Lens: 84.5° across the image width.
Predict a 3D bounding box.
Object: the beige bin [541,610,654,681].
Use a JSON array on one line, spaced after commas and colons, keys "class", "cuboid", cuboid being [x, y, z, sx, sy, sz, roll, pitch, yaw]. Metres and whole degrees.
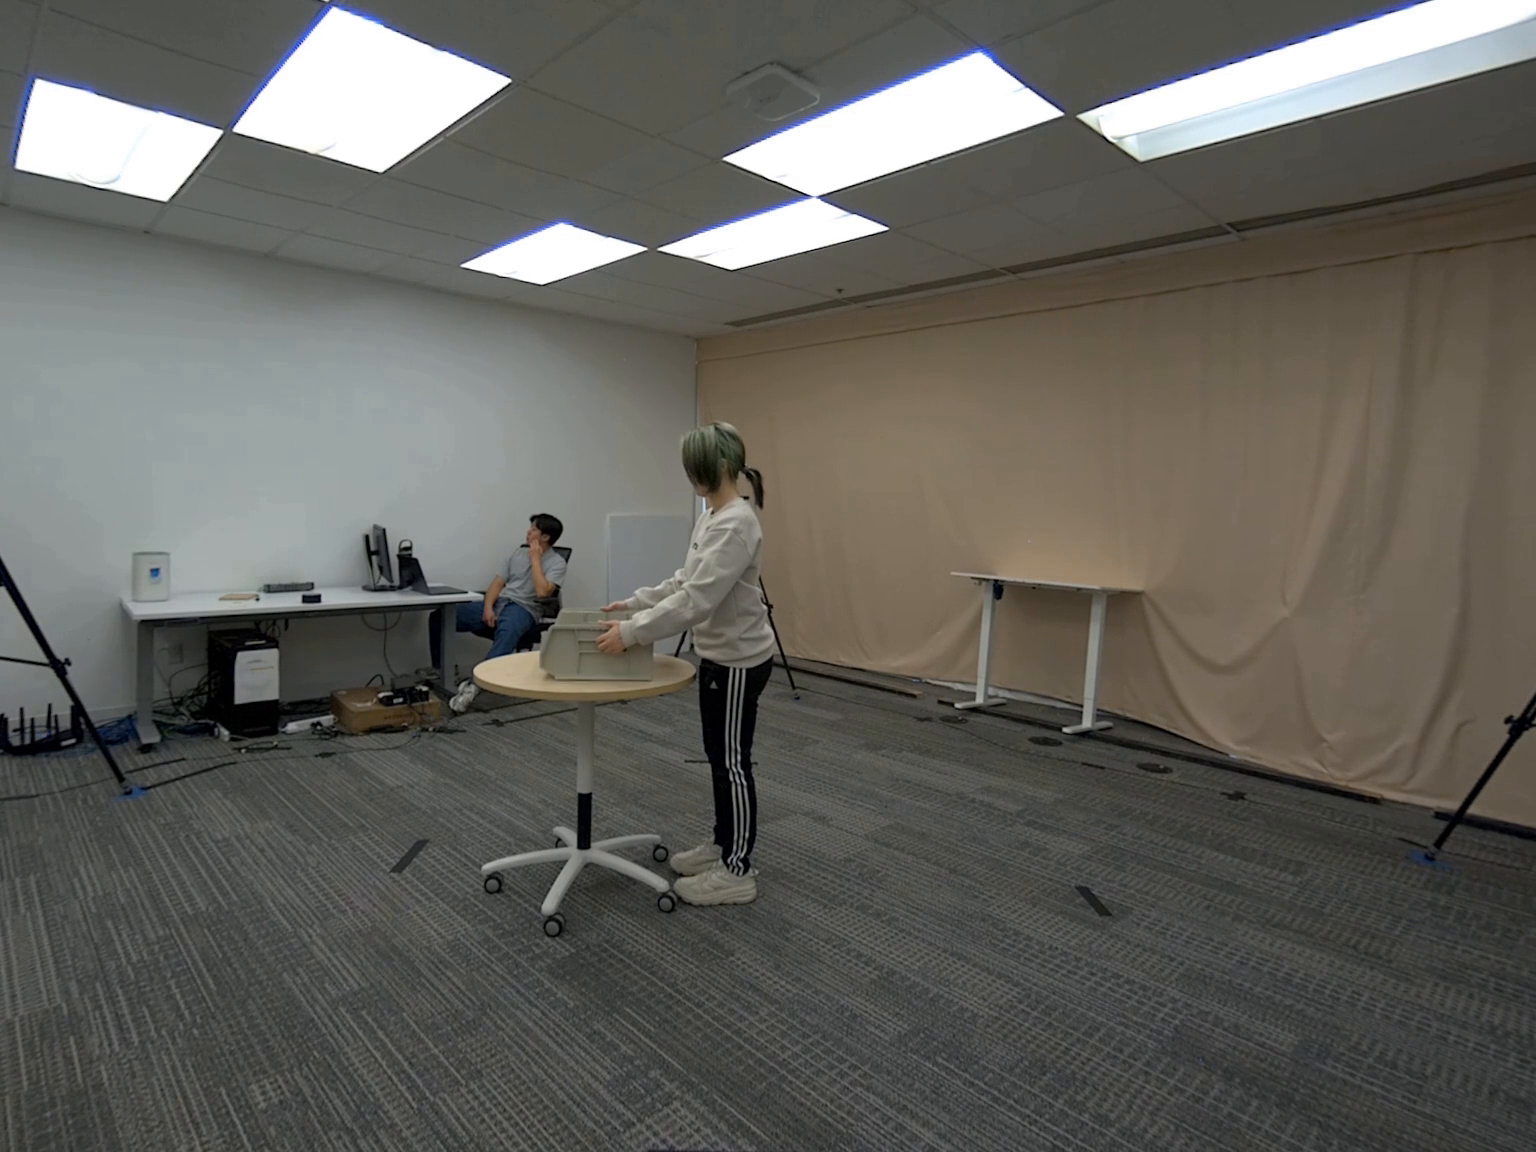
[{"class": "beige bin", "cuboid": [-0.590, 0.225, 2.947, 0.375, 0.188, 0.426, 1, 4, -9]}]
